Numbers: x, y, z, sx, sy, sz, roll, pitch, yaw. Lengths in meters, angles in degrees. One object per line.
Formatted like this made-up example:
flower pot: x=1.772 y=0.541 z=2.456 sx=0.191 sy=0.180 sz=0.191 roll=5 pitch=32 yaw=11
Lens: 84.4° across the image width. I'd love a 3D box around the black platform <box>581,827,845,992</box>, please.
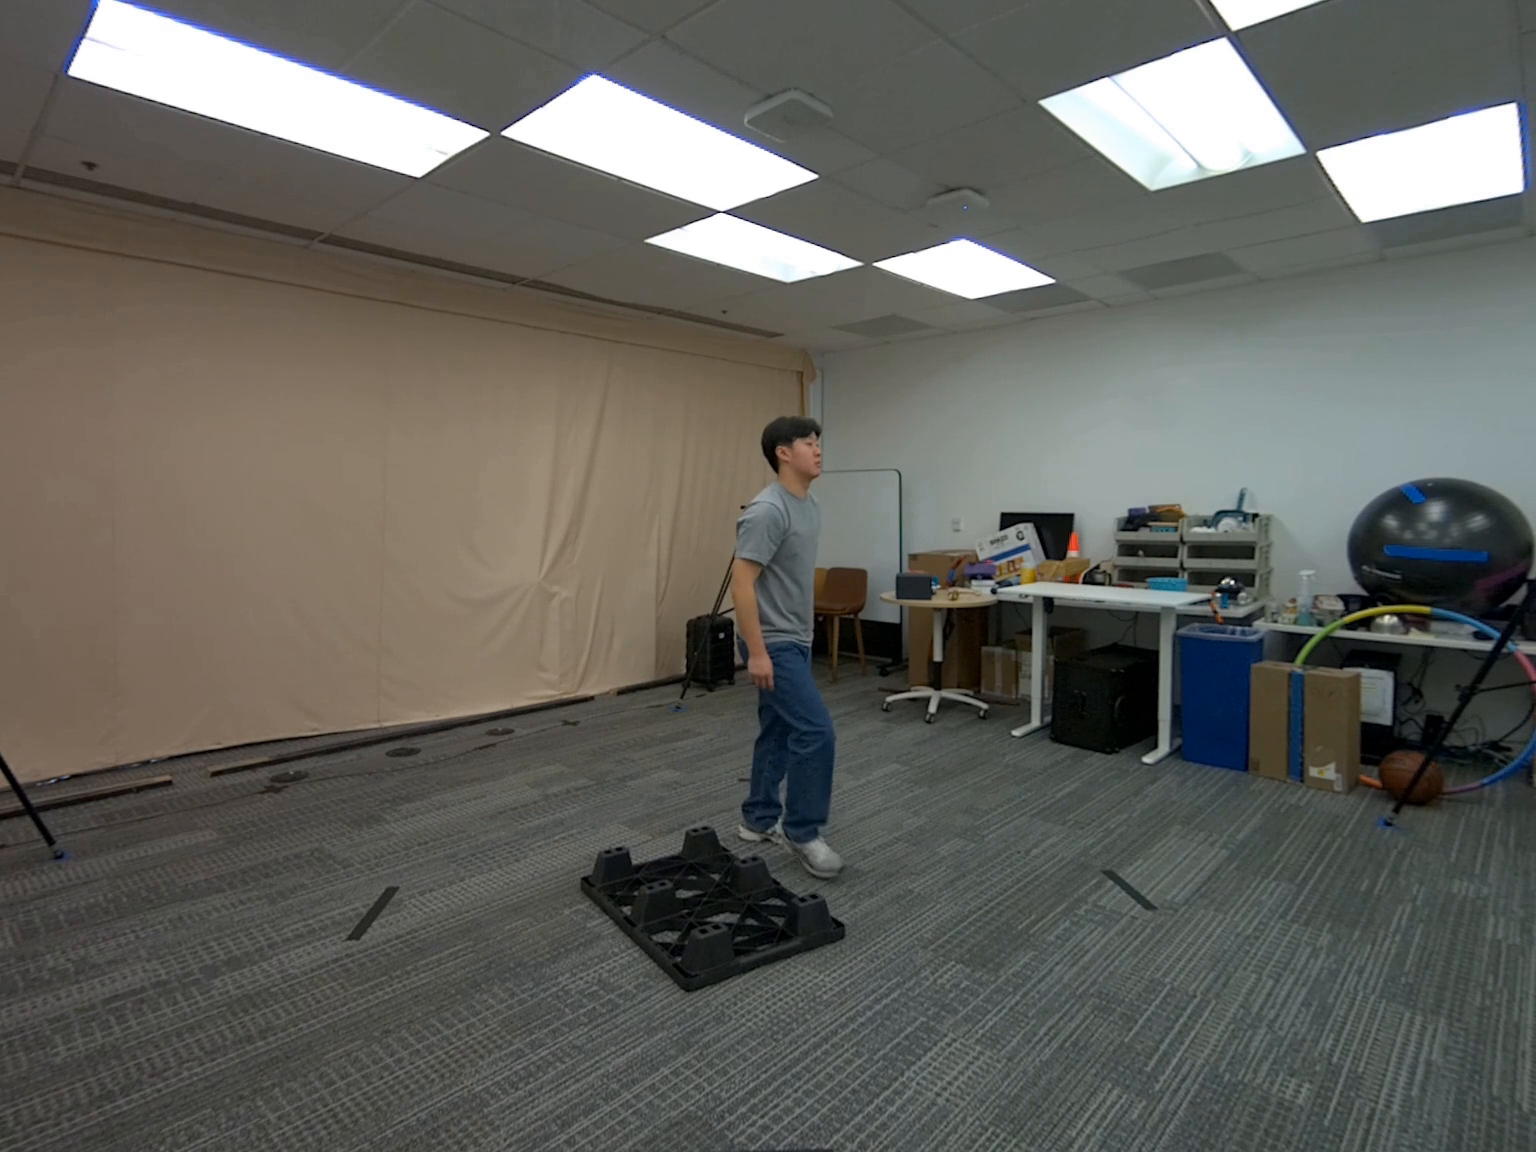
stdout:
black platform: x=-0.212 y=1.088 z=2.887 sx=0.588 sy=0.143 sz=0.831 roll=-4 pitch=6 yaw=-34
